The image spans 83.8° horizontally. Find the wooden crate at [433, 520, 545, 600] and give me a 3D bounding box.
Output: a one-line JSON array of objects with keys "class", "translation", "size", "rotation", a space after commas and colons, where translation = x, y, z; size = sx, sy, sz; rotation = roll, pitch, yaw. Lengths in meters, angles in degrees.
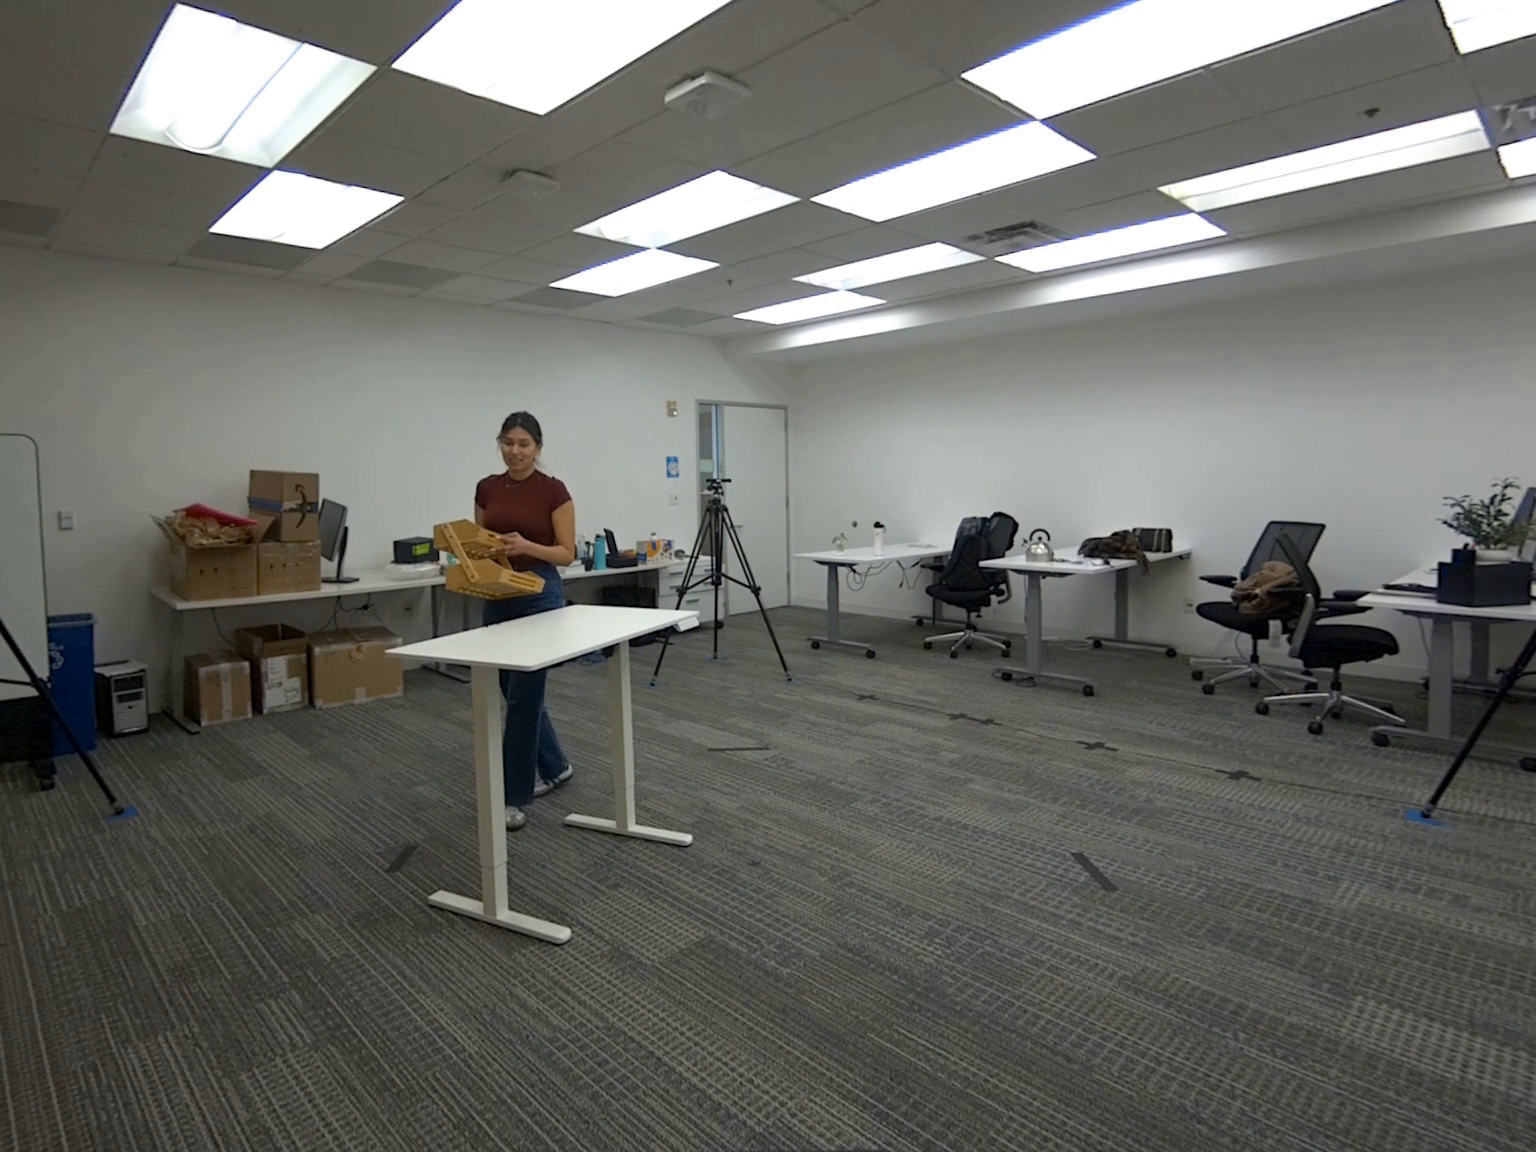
[{"class": "wooden crate", "translation": [-1.099, -0.067, 3.333], "size": [0.306, 0.277, 0.316], "rotation": [-9, -13, 14]}]
